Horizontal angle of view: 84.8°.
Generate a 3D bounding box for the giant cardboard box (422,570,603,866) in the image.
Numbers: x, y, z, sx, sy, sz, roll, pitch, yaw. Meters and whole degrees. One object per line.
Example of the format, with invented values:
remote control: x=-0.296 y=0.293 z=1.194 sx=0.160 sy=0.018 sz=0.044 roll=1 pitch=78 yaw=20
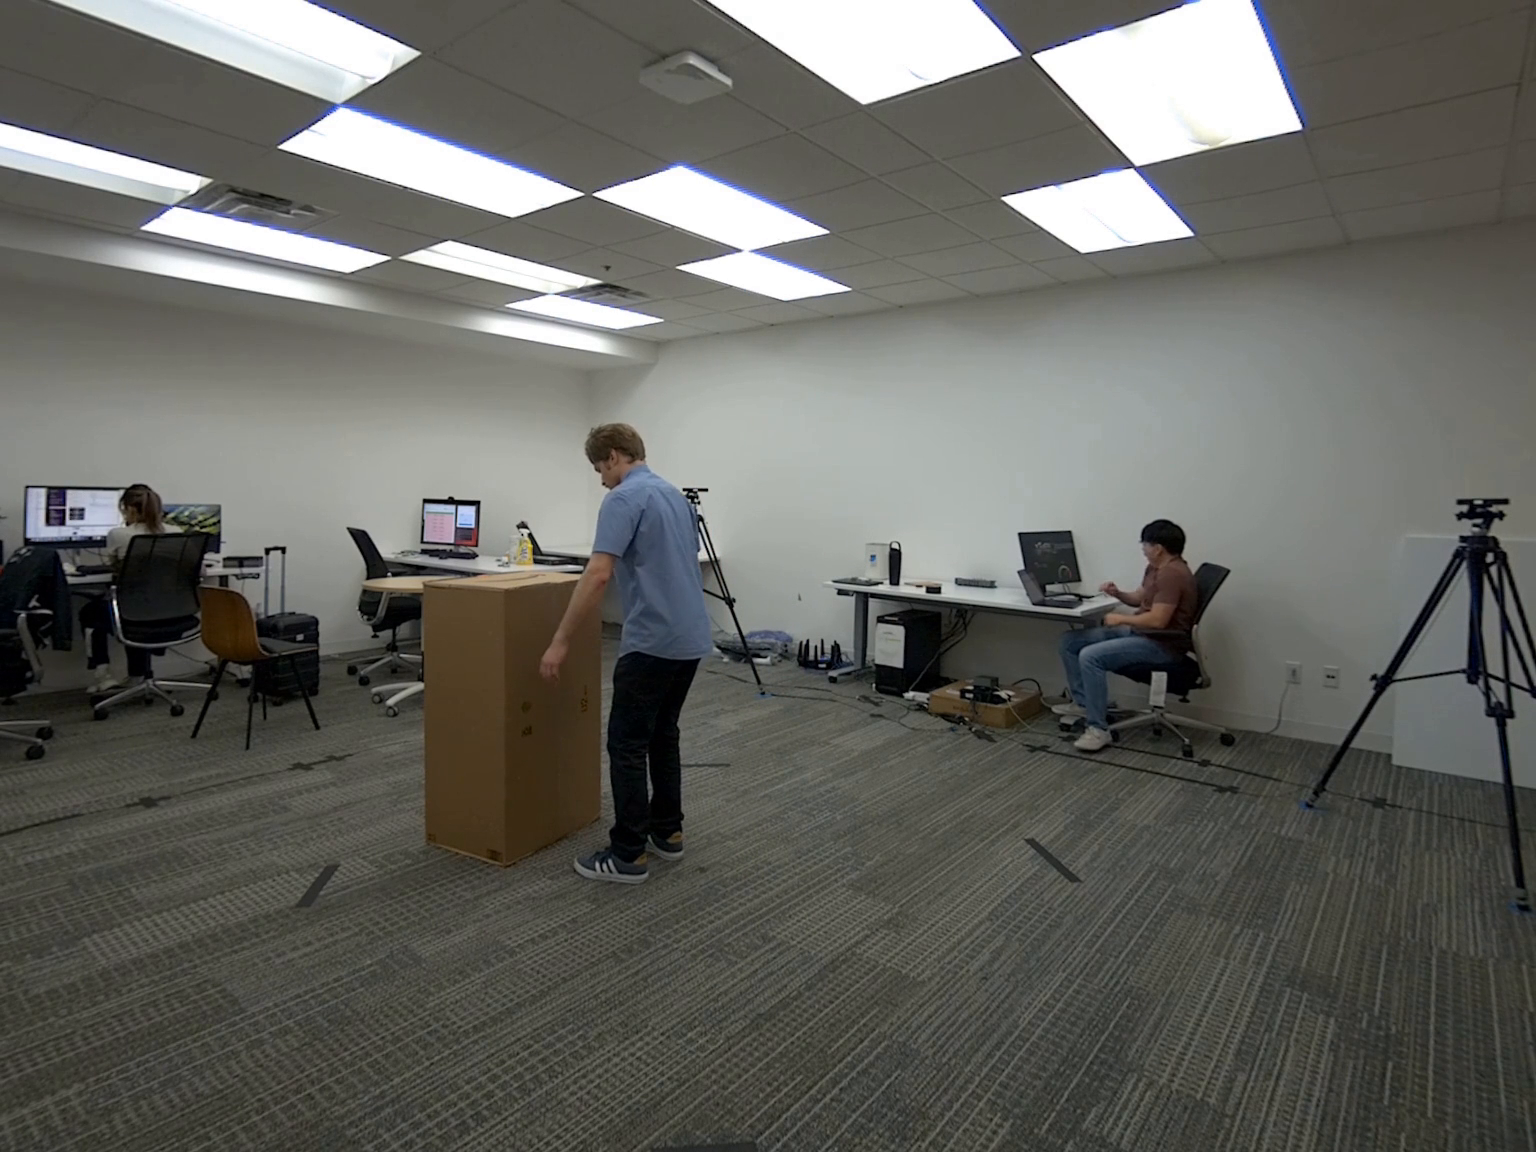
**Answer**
giant cardboard box: x=-1.029 y=0.518 z=3.417 sx=0.438 sy=1.023 sz=0.563 roll=2 pitch=4 yaw=29
